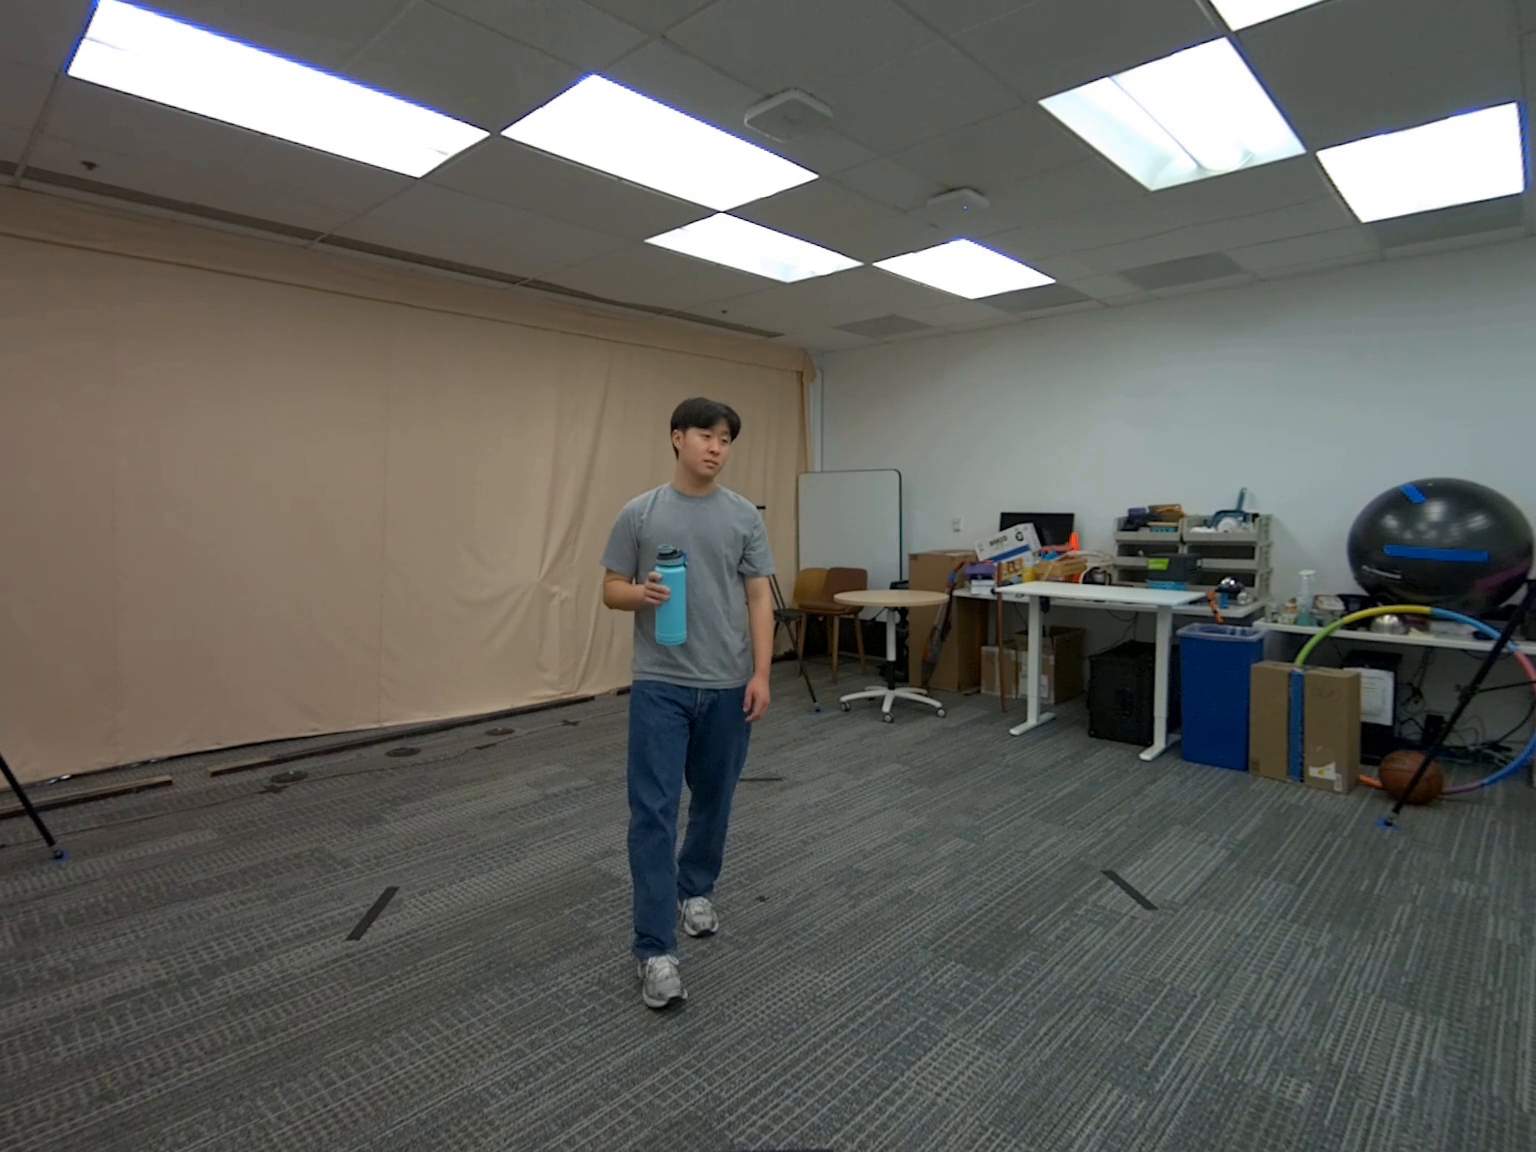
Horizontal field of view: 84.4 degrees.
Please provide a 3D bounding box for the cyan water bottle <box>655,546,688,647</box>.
[{"bbox_3d":[-0.274,0.045,2.433,0.092,0.281,0.093,2,11,-2],"label":"cyan water bottle"}]
